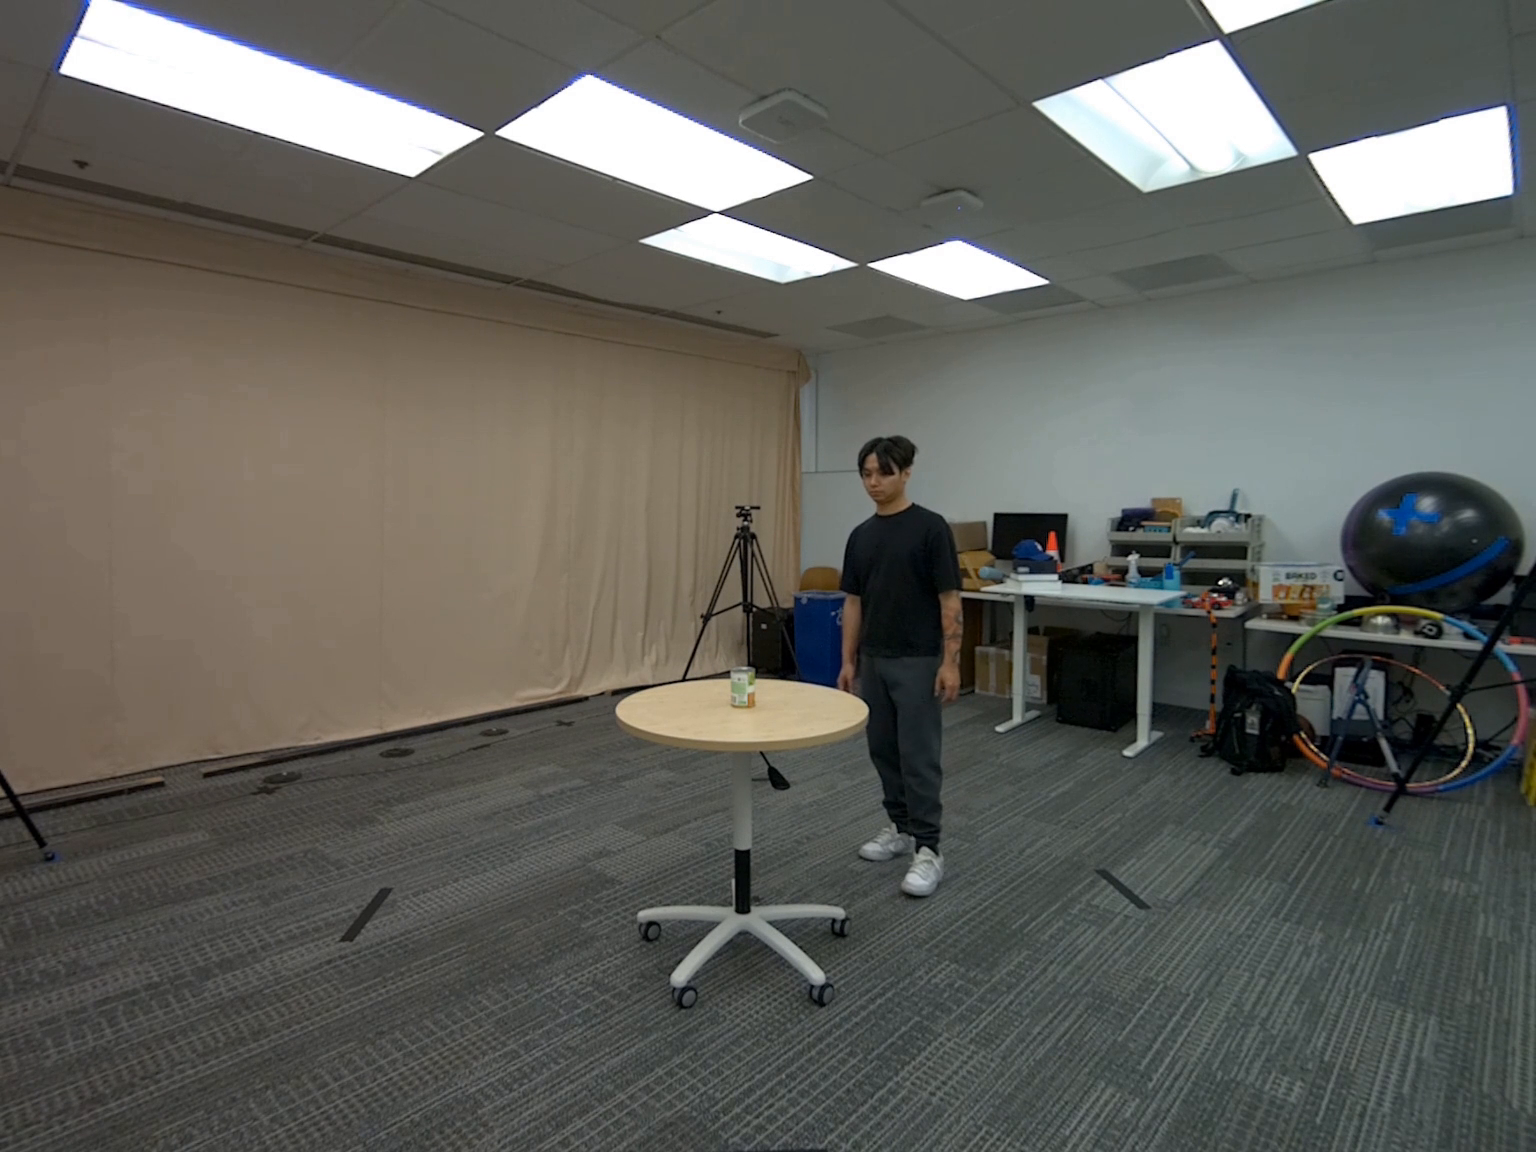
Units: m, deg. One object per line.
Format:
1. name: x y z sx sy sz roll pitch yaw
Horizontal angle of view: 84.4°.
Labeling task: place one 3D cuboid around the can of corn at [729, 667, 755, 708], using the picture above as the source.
1. can of corn: -0.070 0.342 2.562 0.074 0.111 0.074 -2 5 -2
